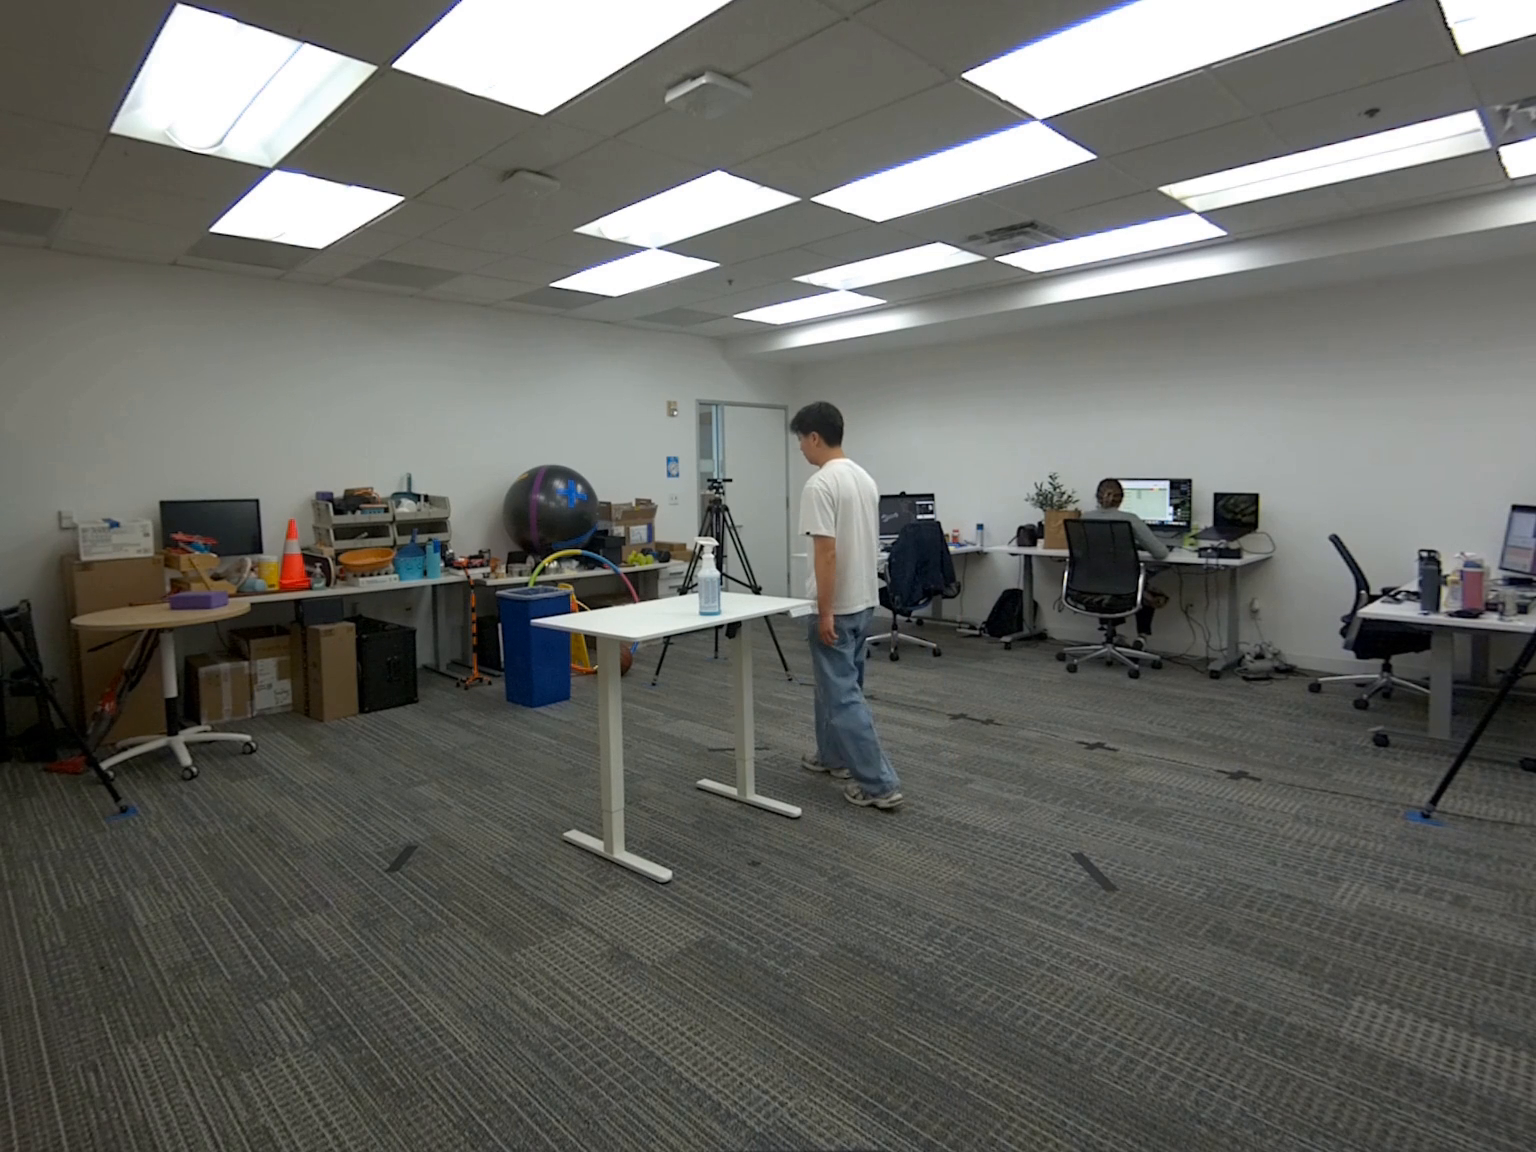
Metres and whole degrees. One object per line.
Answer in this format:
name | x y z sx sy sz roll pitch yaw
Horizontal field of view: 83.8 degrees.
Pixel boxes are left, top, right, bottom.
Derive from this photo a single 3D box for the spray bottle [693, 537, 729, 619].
spray bottle | -0.218 0.002 3.261 0.092 0.296 0.085 -1 3 29
